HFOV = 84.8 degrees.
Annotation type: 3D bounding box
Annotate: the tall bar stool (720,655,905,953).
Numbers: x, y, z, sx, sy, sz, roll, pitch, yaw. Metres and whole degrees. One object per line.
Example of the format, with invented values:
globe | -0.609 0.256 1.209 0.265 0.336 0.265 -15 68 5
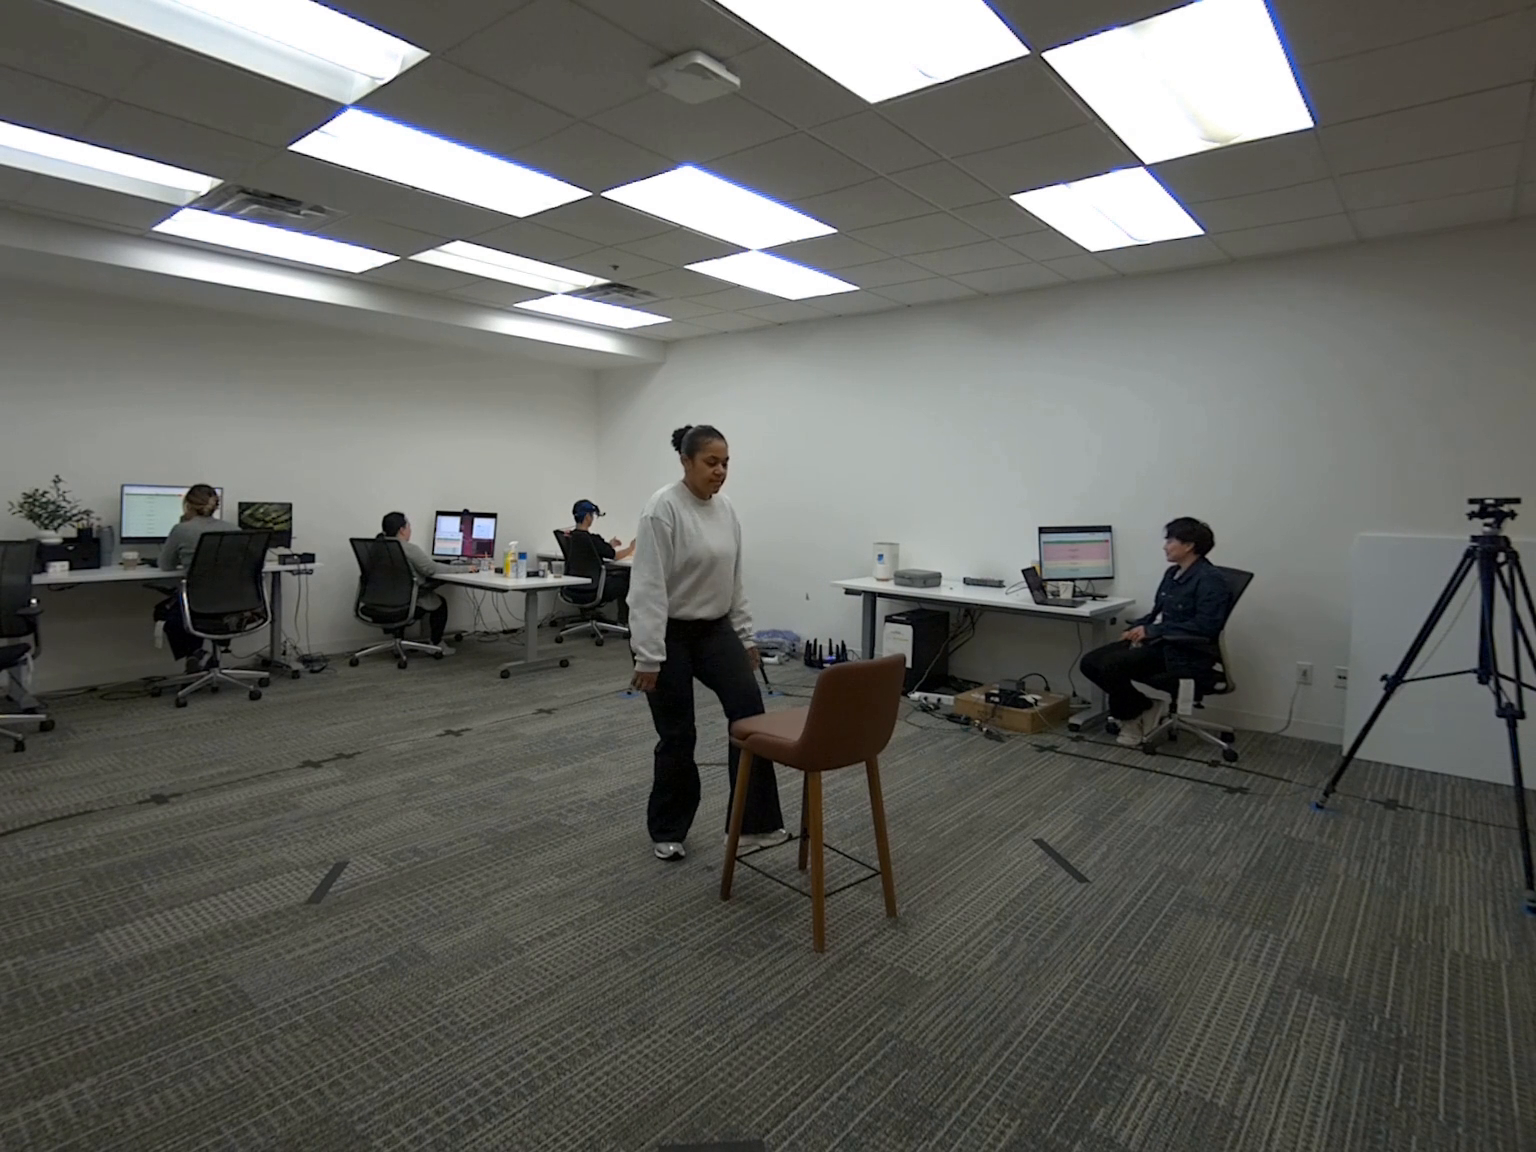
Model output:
tall bar stool | 0.149 0.667 2.813 0.442 0.886 0.484 -1 6 -42
